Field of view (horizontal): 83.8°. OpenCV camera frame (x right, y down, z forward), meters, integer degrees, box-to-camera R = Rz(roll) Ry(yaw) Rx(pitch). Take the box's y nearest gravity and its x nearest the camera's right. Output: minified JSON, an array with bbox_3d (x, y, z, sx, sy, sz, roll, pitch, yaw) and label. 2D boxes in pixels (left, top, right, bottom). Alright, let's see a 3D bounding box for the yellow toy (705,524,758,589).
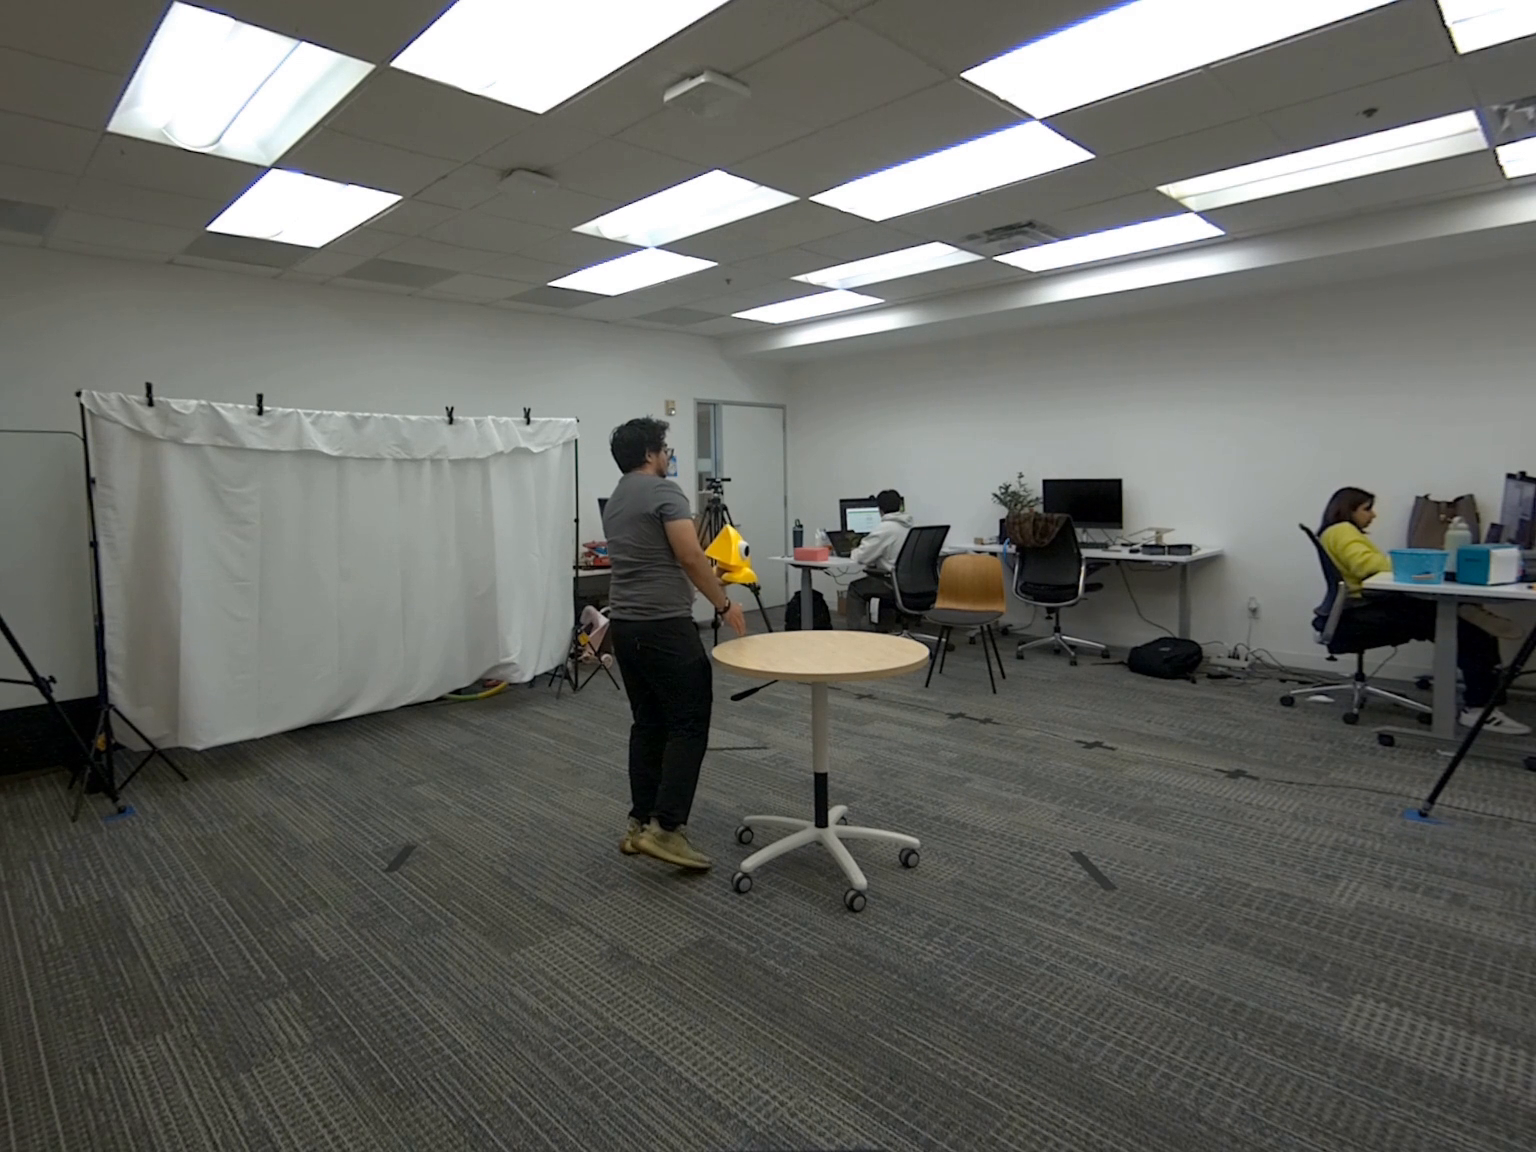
[{"bbox_3d":[-0.141,-0.105,3.634,0.188,0.229,0.212,0,12,-37],"label":"yellow toy"}]
